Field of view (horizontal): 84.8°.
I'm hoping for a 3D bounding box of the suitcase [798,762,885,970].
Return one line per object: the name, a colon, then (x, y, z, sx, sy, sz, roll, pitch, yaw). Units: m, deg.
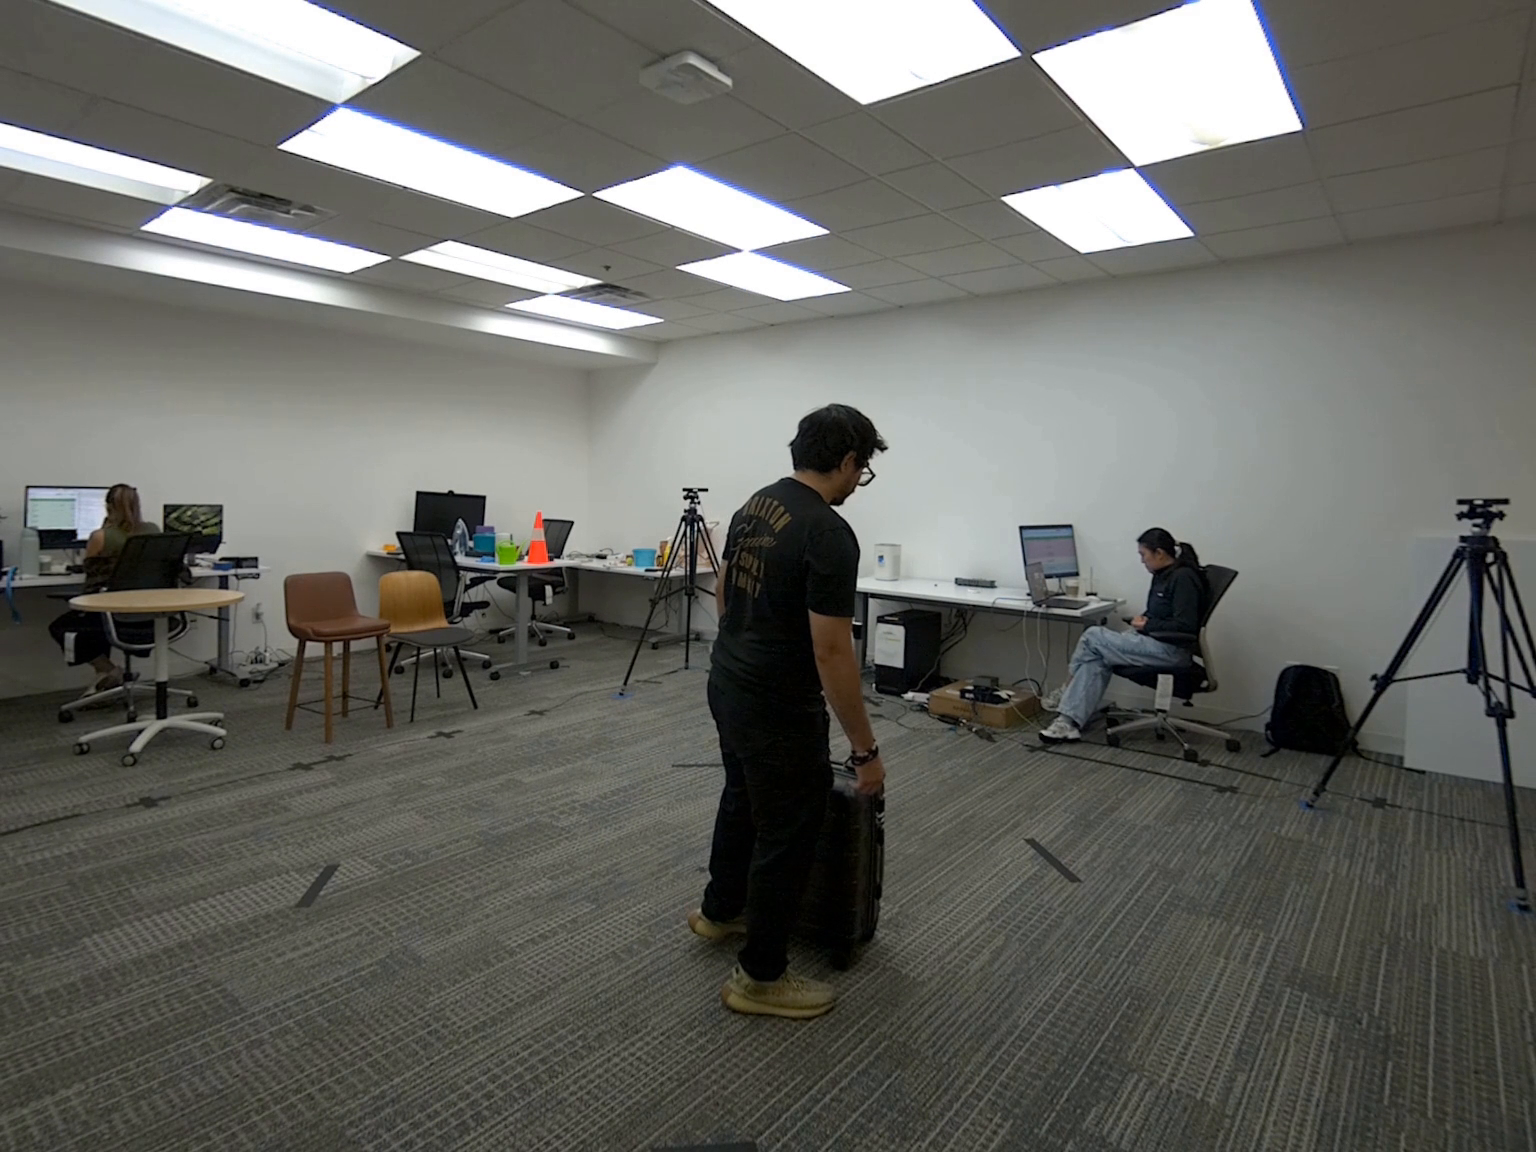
suitcase: (0.167, 0.651, 2.620, 0.395, 0.974, 0.251, 4, 5, 27)
